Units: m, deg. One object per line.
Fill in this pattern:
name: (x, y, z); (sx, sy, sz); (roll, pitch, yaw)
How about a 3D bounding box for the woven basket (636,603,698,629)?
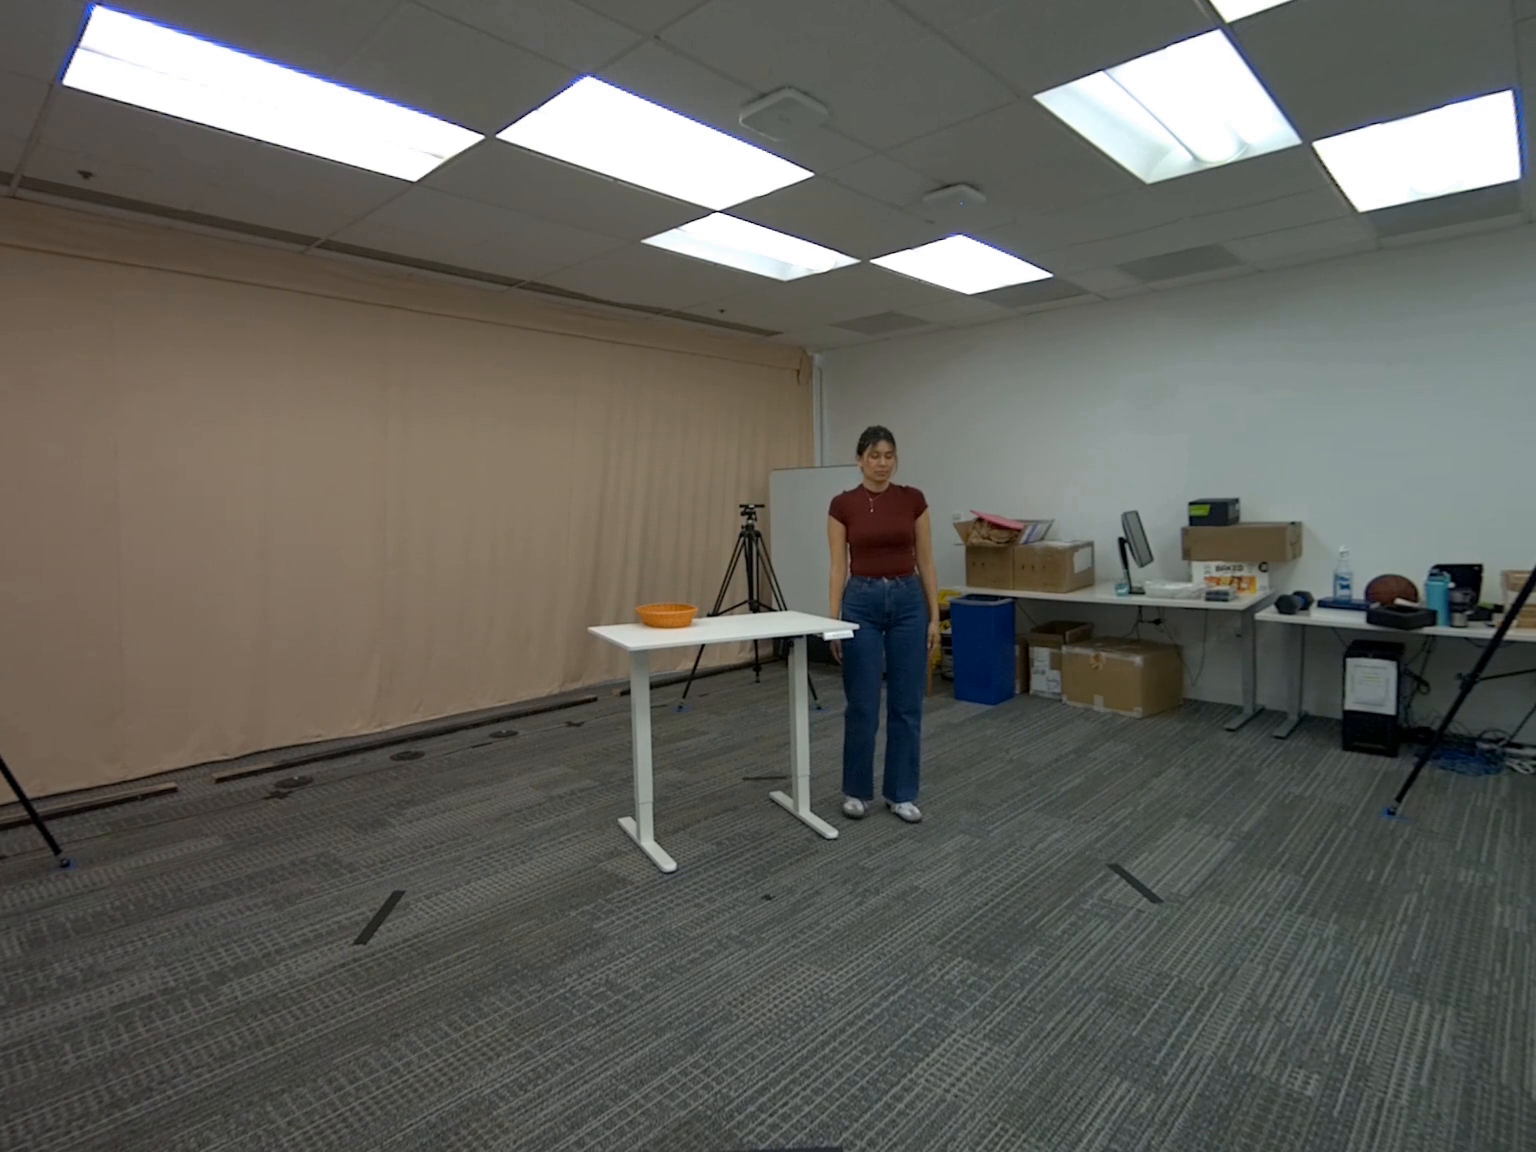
woven basket: (-0.461, 0.180, 3.688); (0.247, 0.073, 0.358); (-4, 5, -21)
